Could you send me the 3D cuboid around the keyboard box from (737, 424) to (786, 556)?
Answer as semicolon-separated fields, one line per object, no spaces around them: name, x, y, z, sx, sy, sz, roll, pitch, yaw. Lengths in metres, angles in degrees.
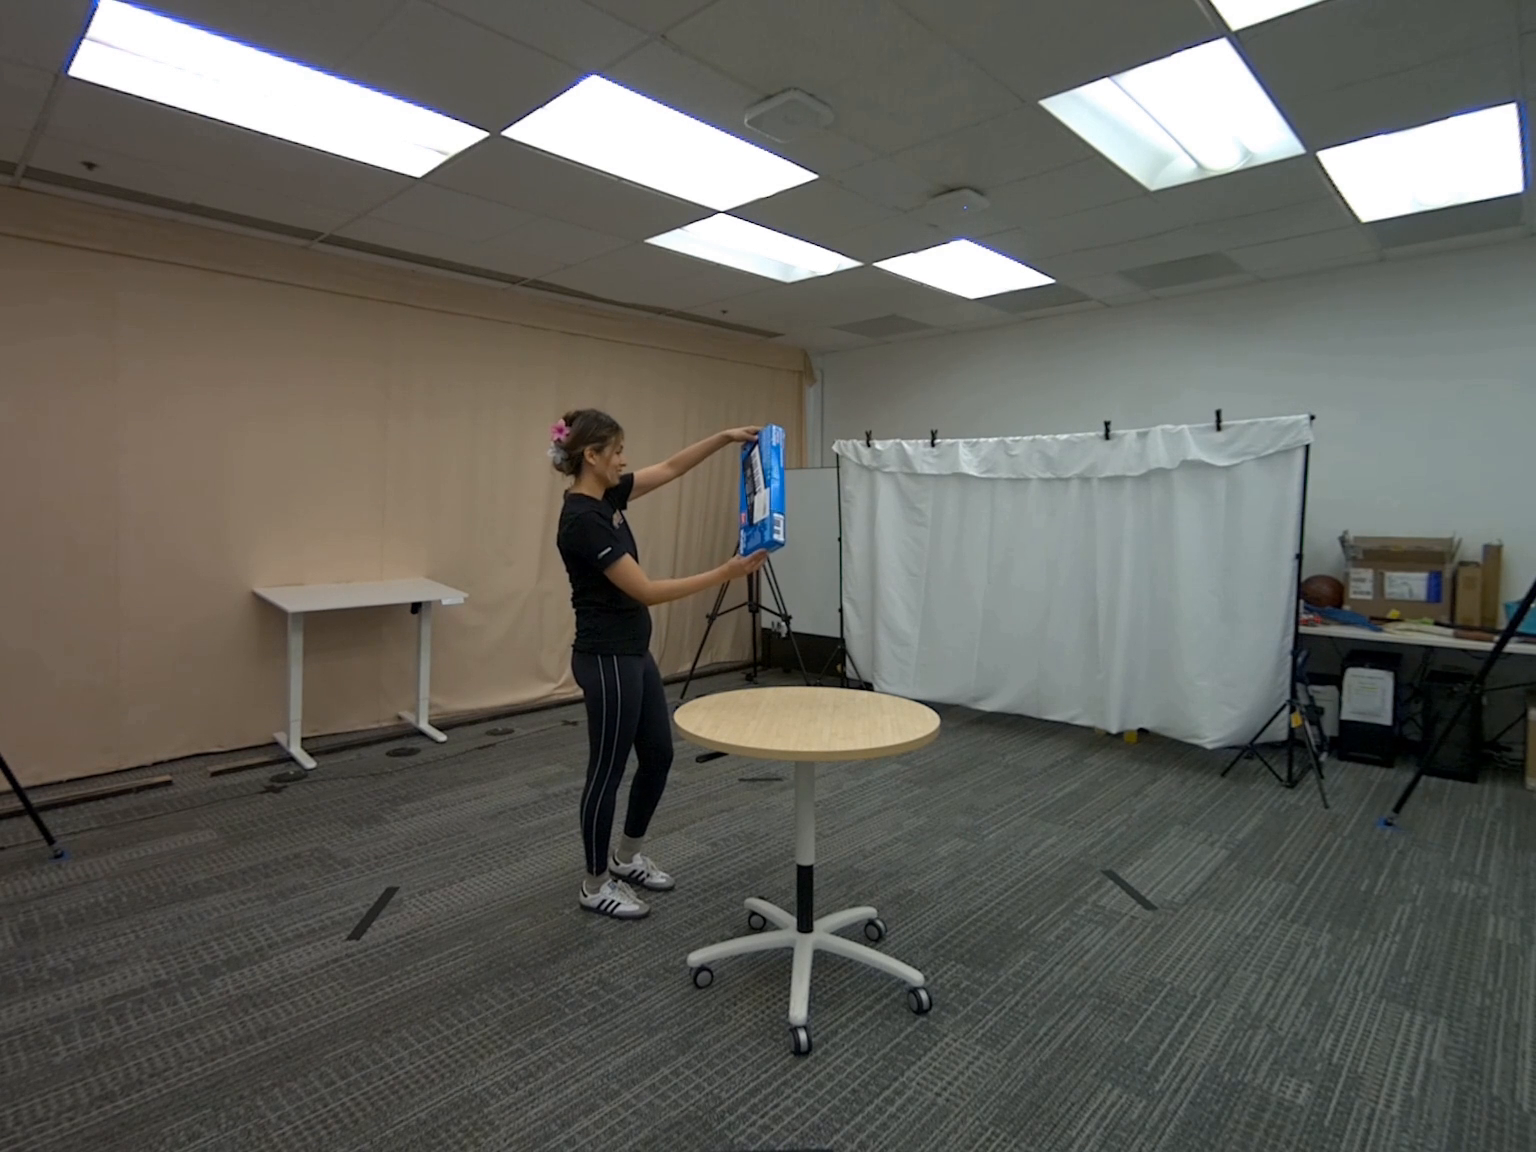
keyboard box;-0.015;-0.272;2.770;0.057;0.443;0.179;18;-30;-32
